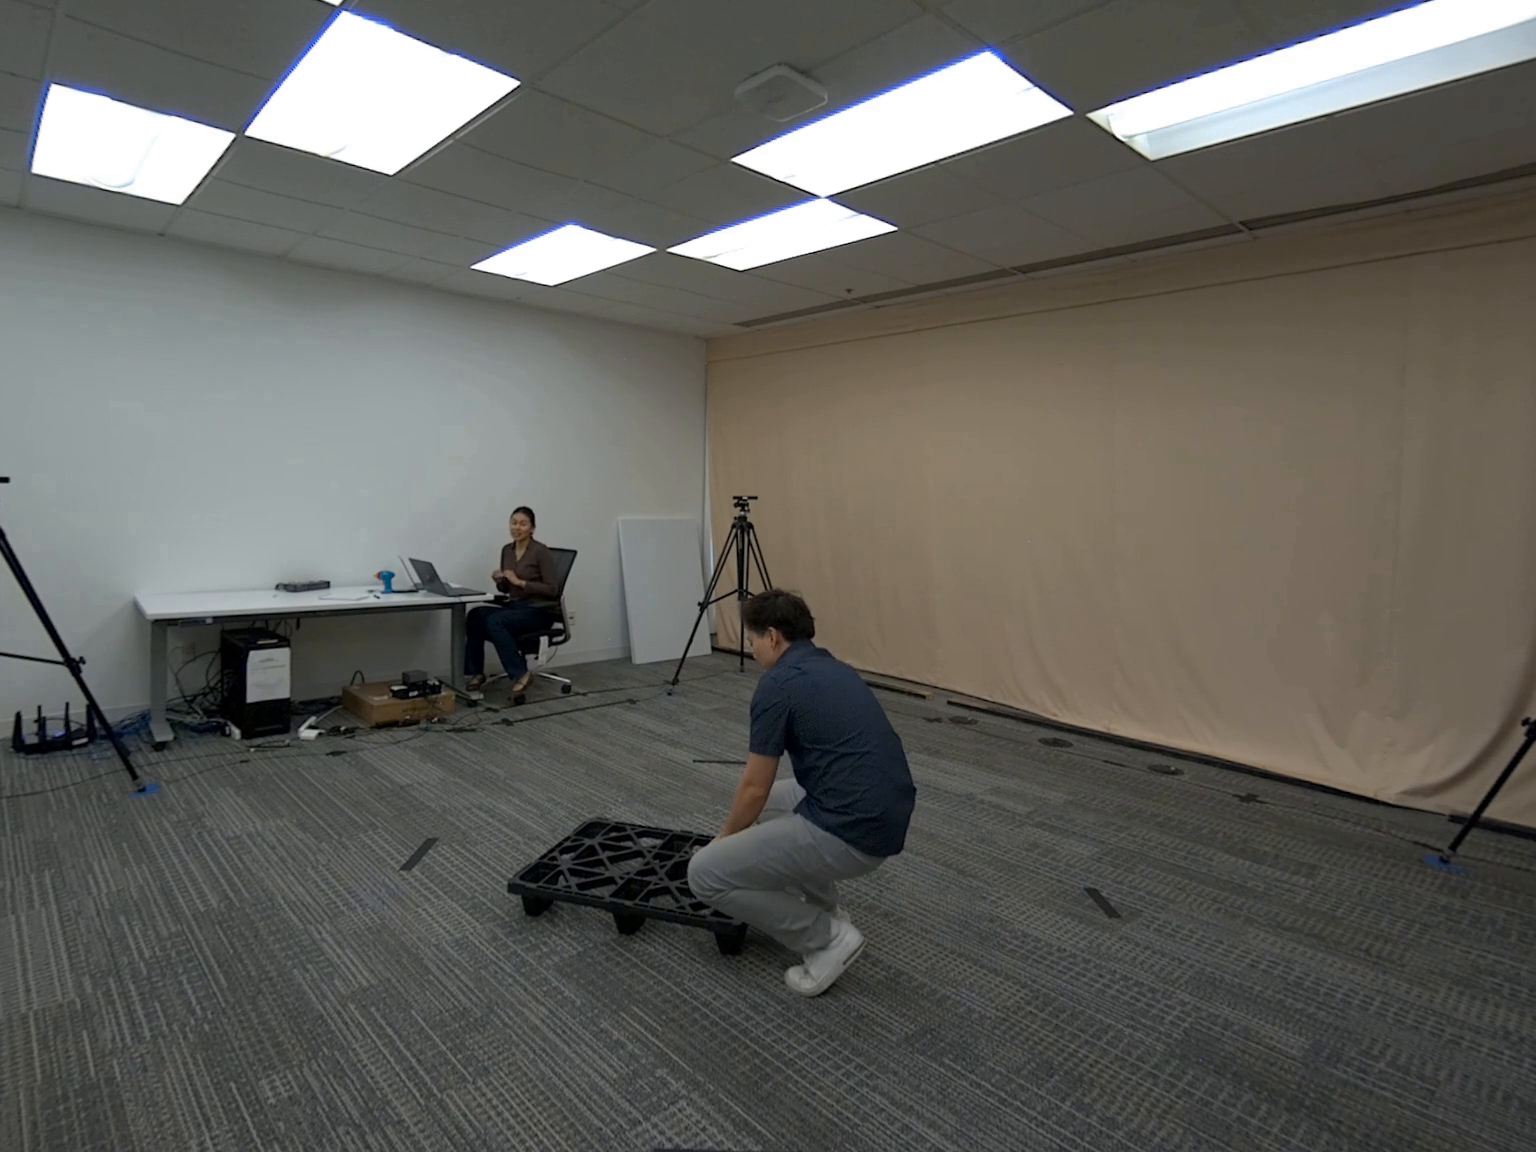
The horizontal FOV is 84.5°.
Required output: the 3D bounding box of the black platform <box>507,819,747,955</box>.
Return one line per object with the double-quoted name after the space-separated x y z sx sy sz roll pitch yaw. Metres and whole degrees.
-0.389 1.050 2.878 0.817 0.143 0.599 3 6 17 "black platform"
